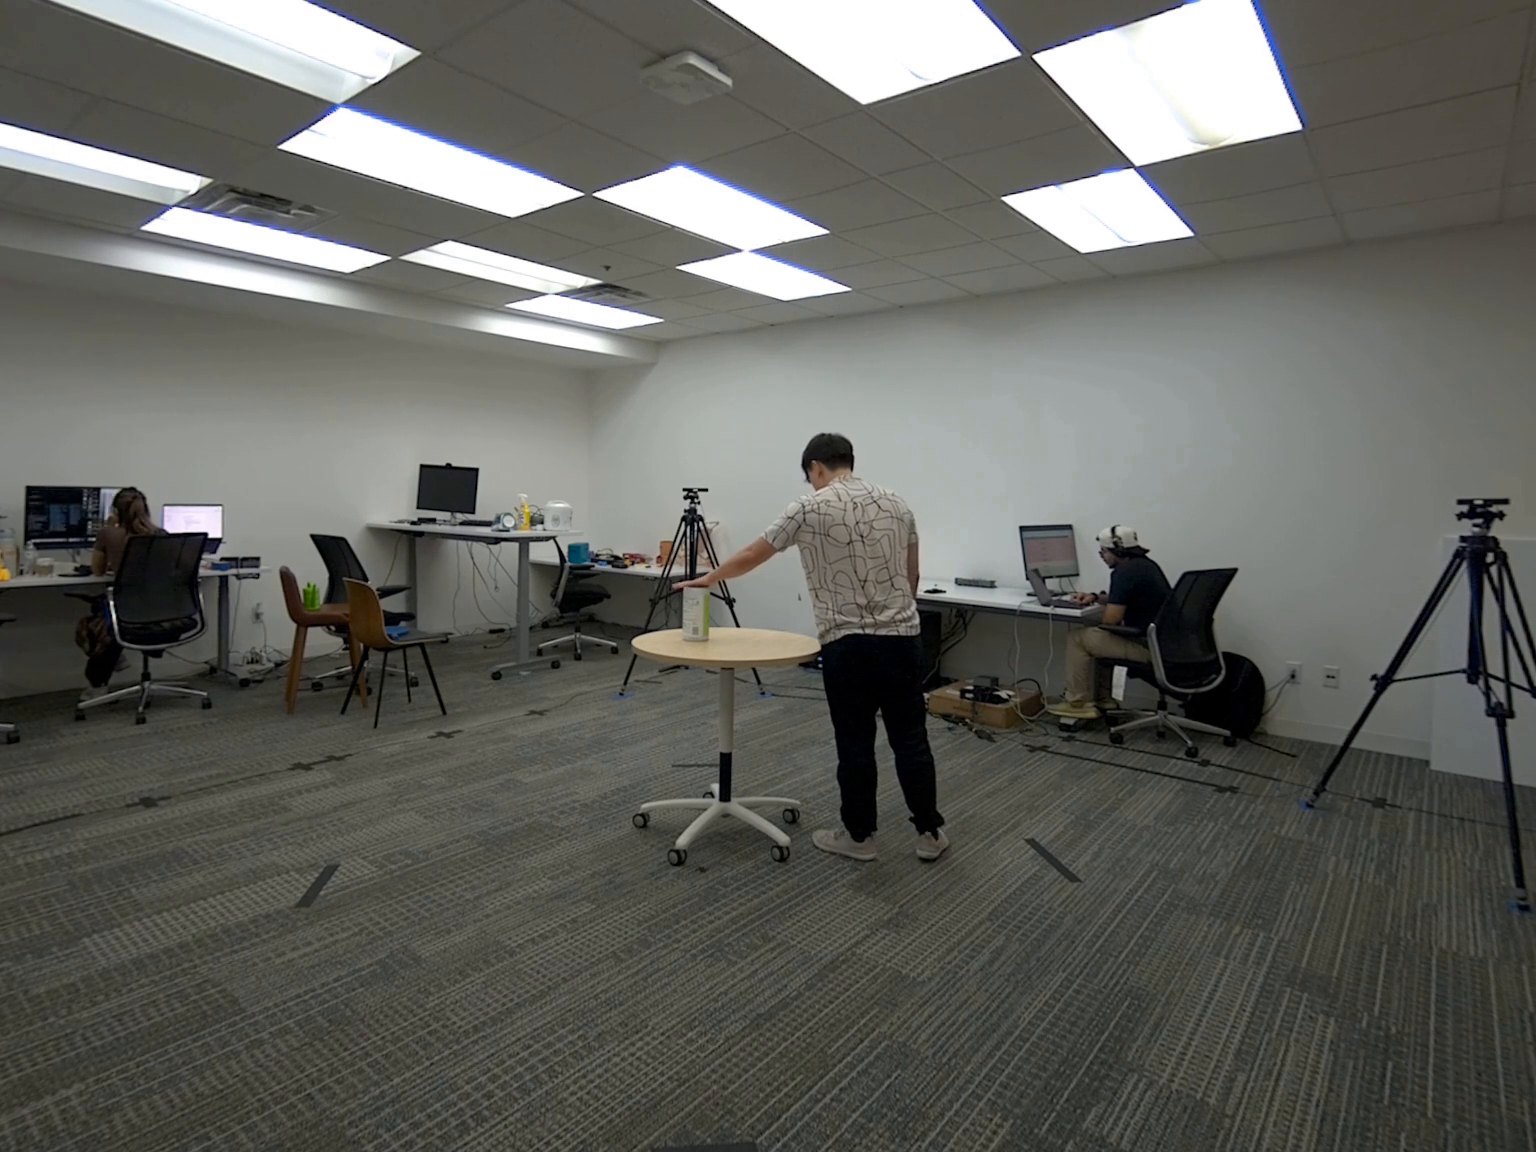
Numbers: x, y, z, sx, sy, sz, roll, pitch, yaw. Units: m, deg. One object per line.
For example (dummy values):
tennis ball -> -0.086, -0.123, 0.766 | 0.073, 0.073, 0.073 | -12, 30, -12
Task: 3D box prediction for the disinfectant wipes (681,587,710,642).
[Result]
disinfectant wipes -> -0.303, 0.152, 3.451 | 0.118, 0.217, 0.118 | 1, 2, -2
